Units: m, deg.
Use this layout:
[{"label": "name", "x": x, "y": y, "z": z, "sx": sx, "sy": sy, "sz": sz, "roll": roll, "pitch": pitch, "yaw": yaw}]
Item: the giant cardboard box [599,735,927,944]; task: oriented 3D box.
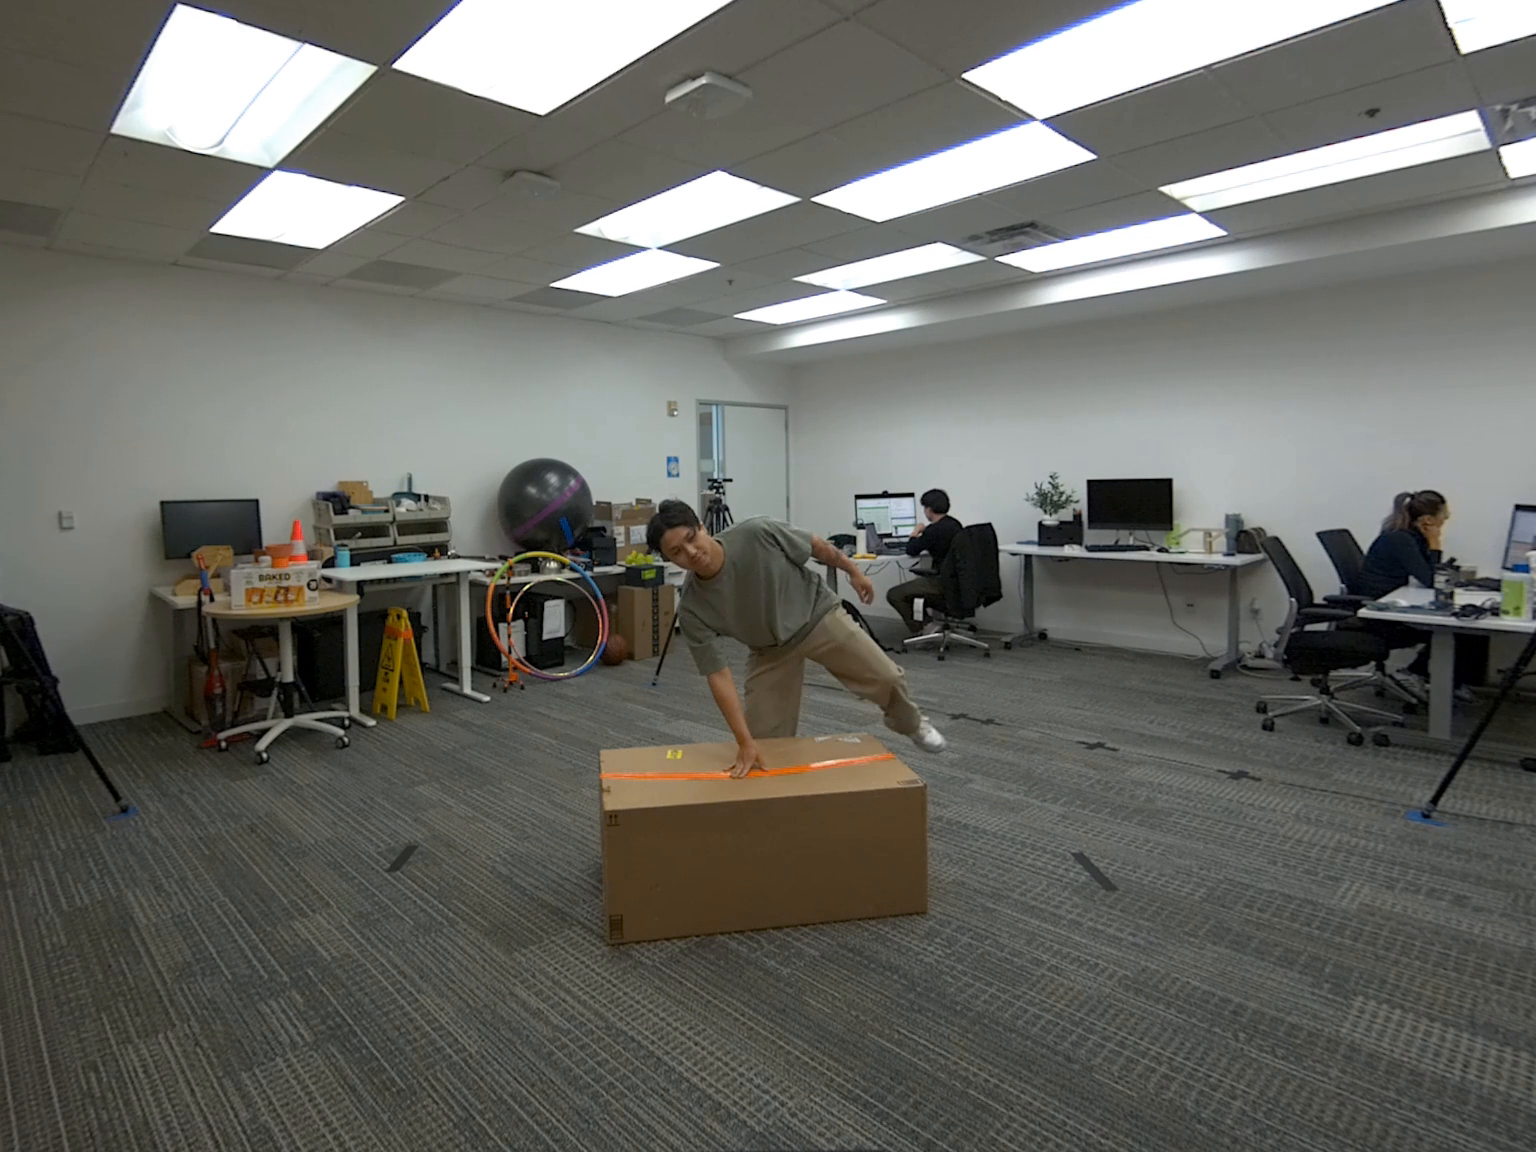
[{"label": "giant cardboard box", "x": -0.052, "y": 0.854, "z": 2.912, "sx": 1.016, "sy": 0.425, "sz": 0.585, "roll": -2, "pitch": 5, "yaw": -10}]
